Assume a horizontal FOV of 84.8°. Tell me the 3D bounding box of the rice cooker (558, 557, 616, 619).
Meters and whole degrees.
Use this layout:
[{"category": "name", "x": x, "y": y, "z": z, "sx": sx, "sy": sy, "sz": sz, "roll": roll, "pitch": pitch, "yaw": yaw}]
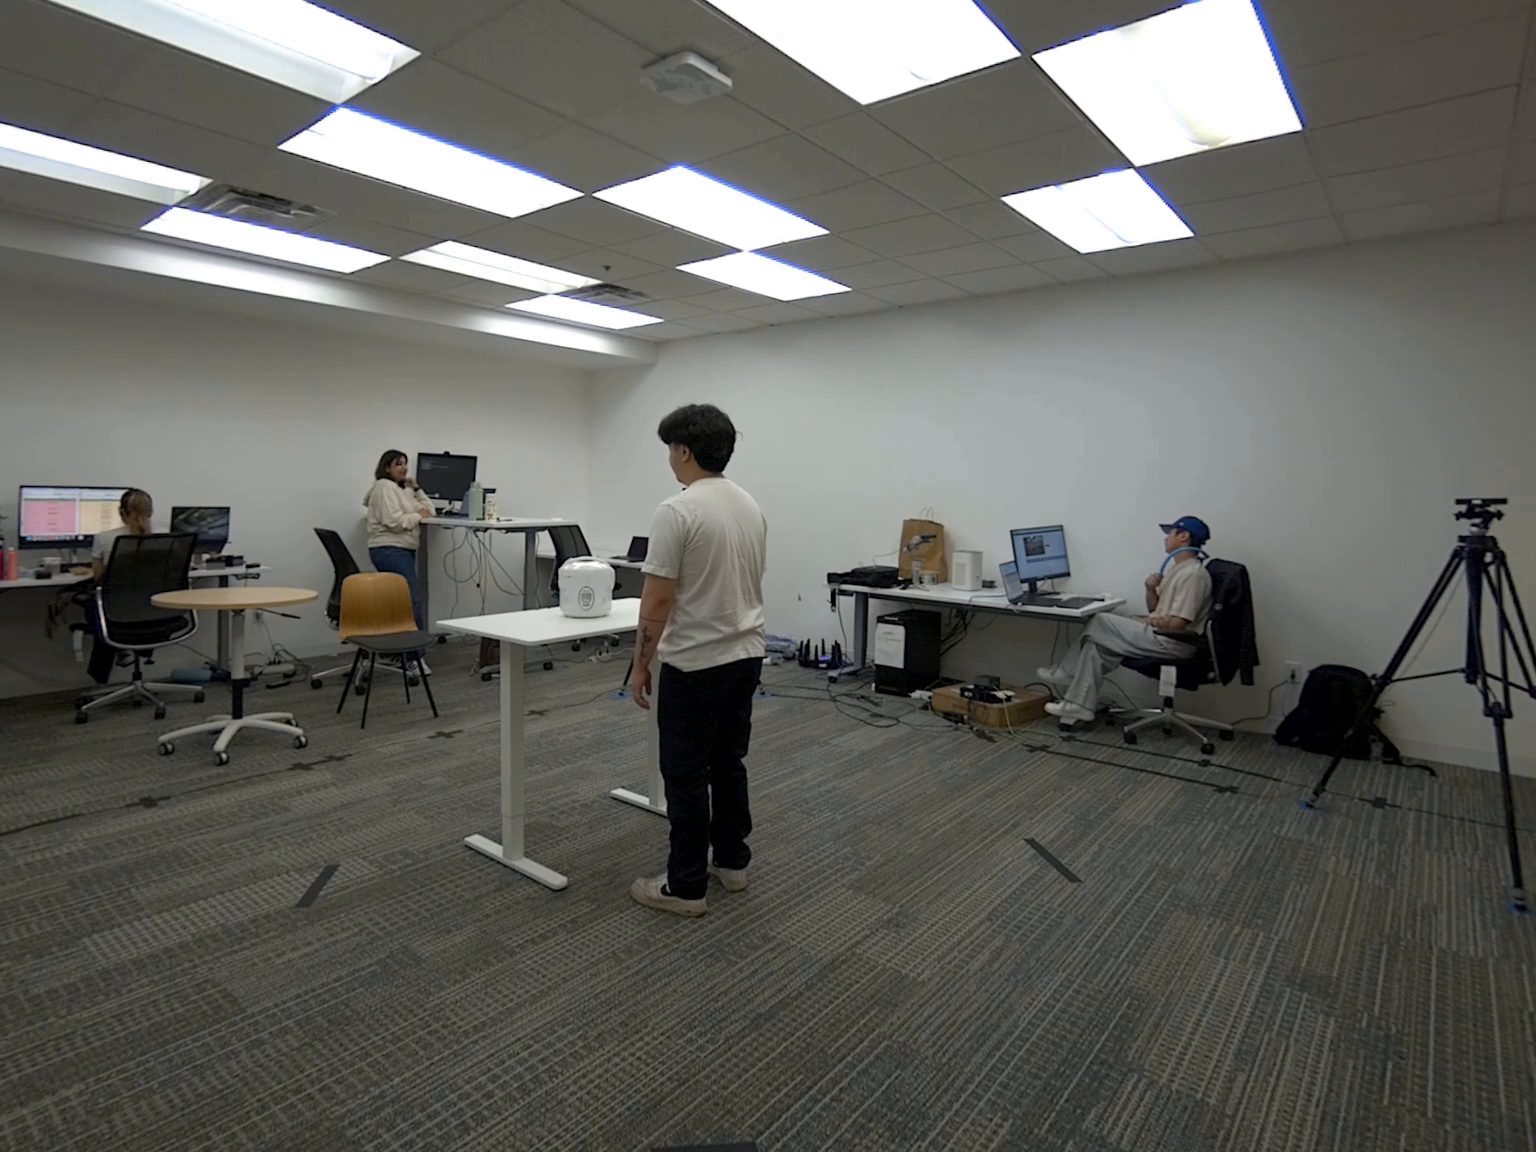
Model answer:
[{"category": "rice cooker", "x": -0.731, "y": 0.038, "z": 3.366, "sx": 0.218, "sy": 0.232, "sz": 0.220, "roll": -1, "pitch": 4, "yaw": -10}]
